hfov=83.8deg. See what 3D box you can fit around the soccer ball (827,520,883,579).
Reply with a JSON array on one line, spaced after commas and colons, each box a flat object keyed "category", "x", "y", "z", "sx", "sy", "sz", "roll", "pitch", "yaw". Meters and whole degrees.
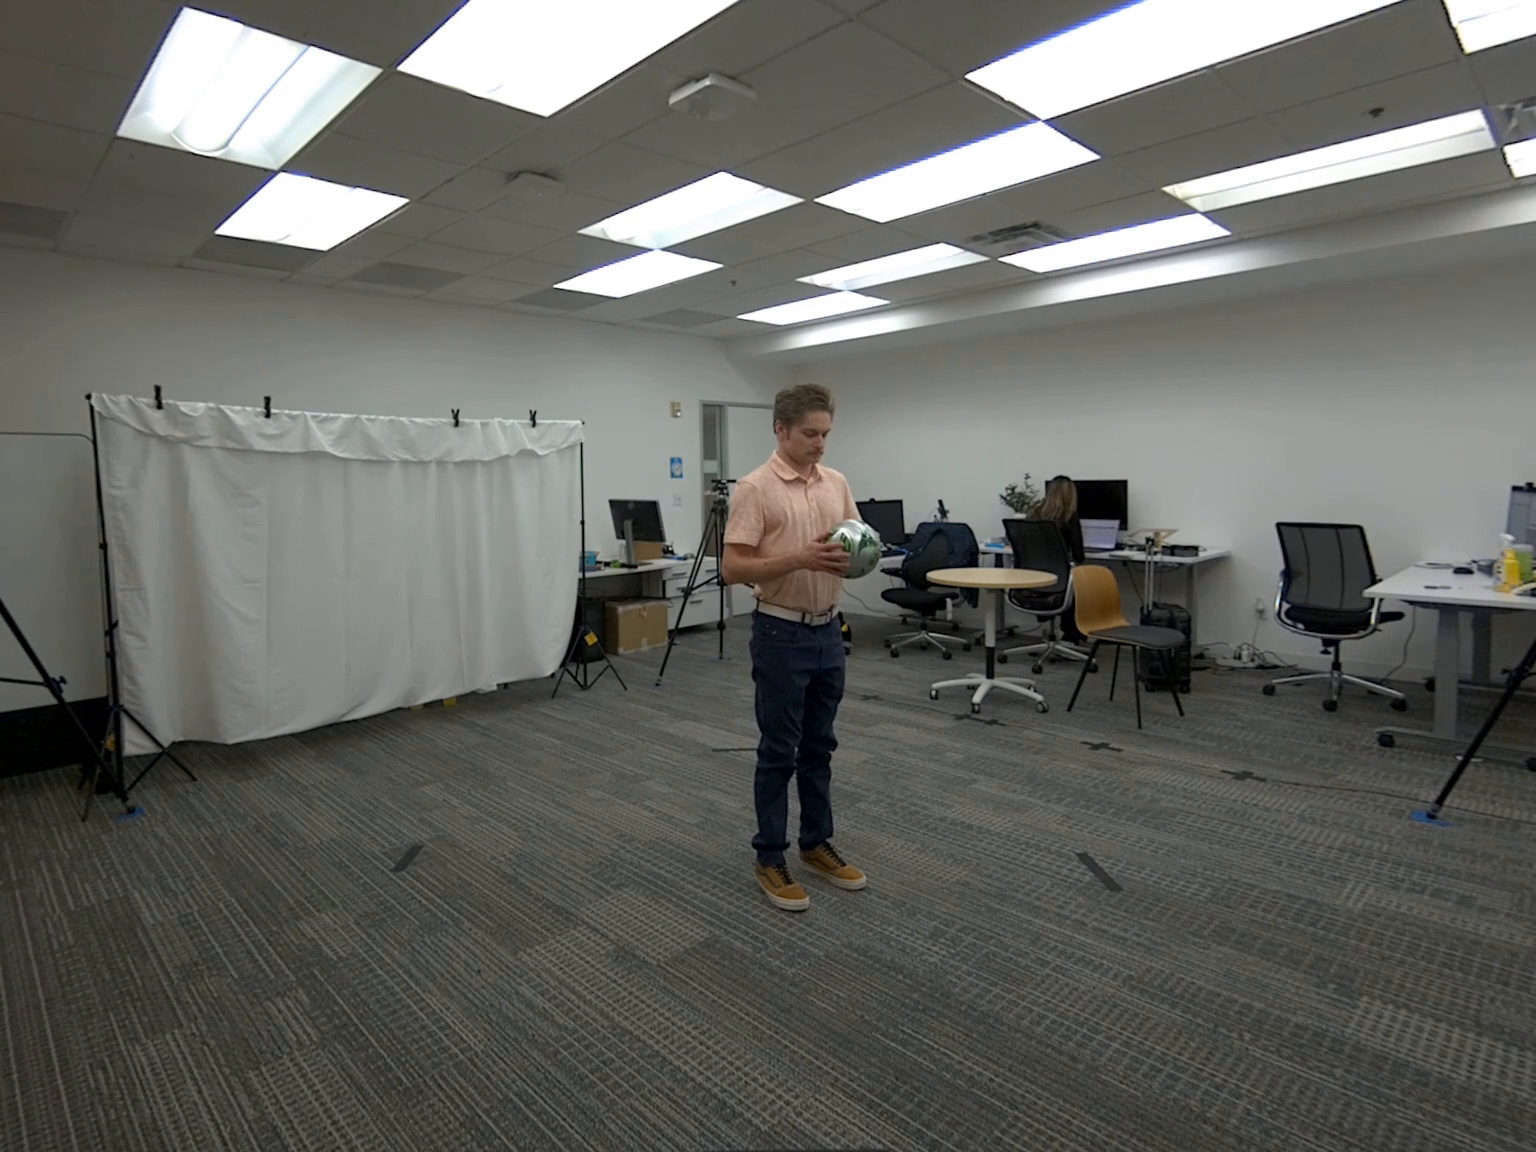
[{"category": "soccer ball", "x": 0.250, "y": -0.075, "z": 2.680, "sx": 0.187, "sy": 0.187, "sz": 0.188, "roll": -1, "pitch": 5, "yaw": -2}]
